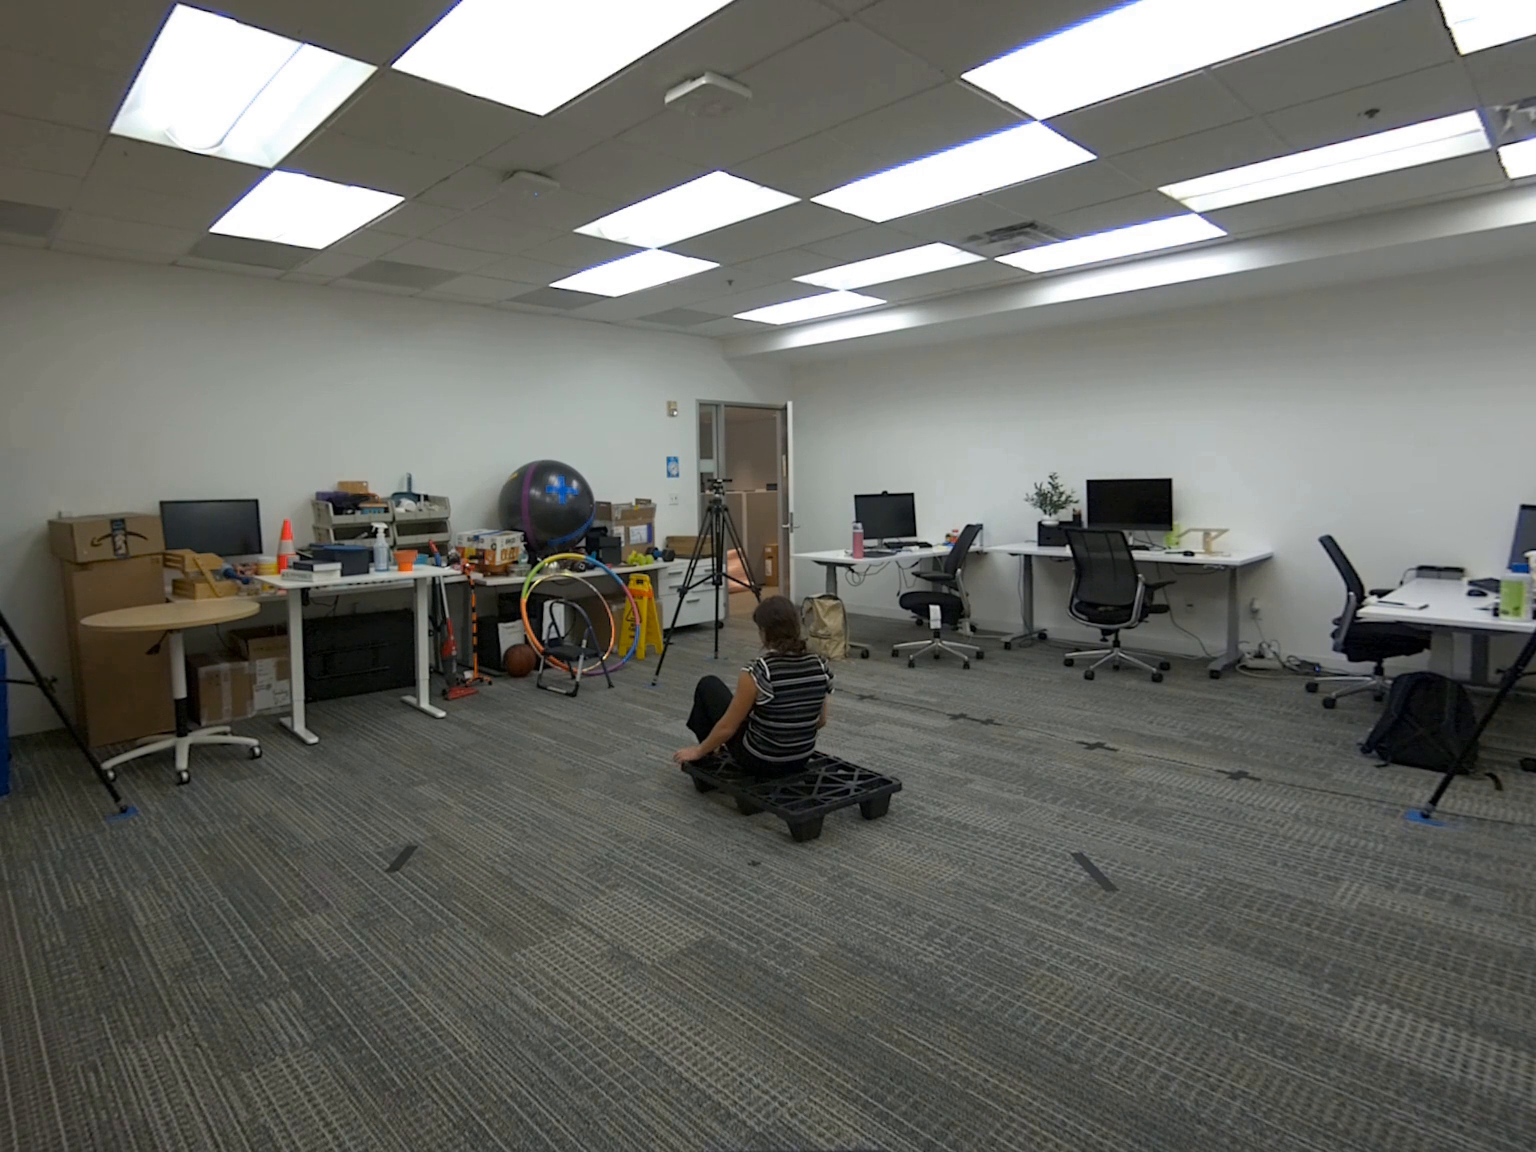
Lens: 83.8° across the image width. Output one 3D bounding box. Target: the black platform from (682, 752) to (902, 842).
[{"bbox_3d":[0.086,0.907,3.693,0.589,0.143,0.829,-4,6,-36],"label":"black platform"}]
